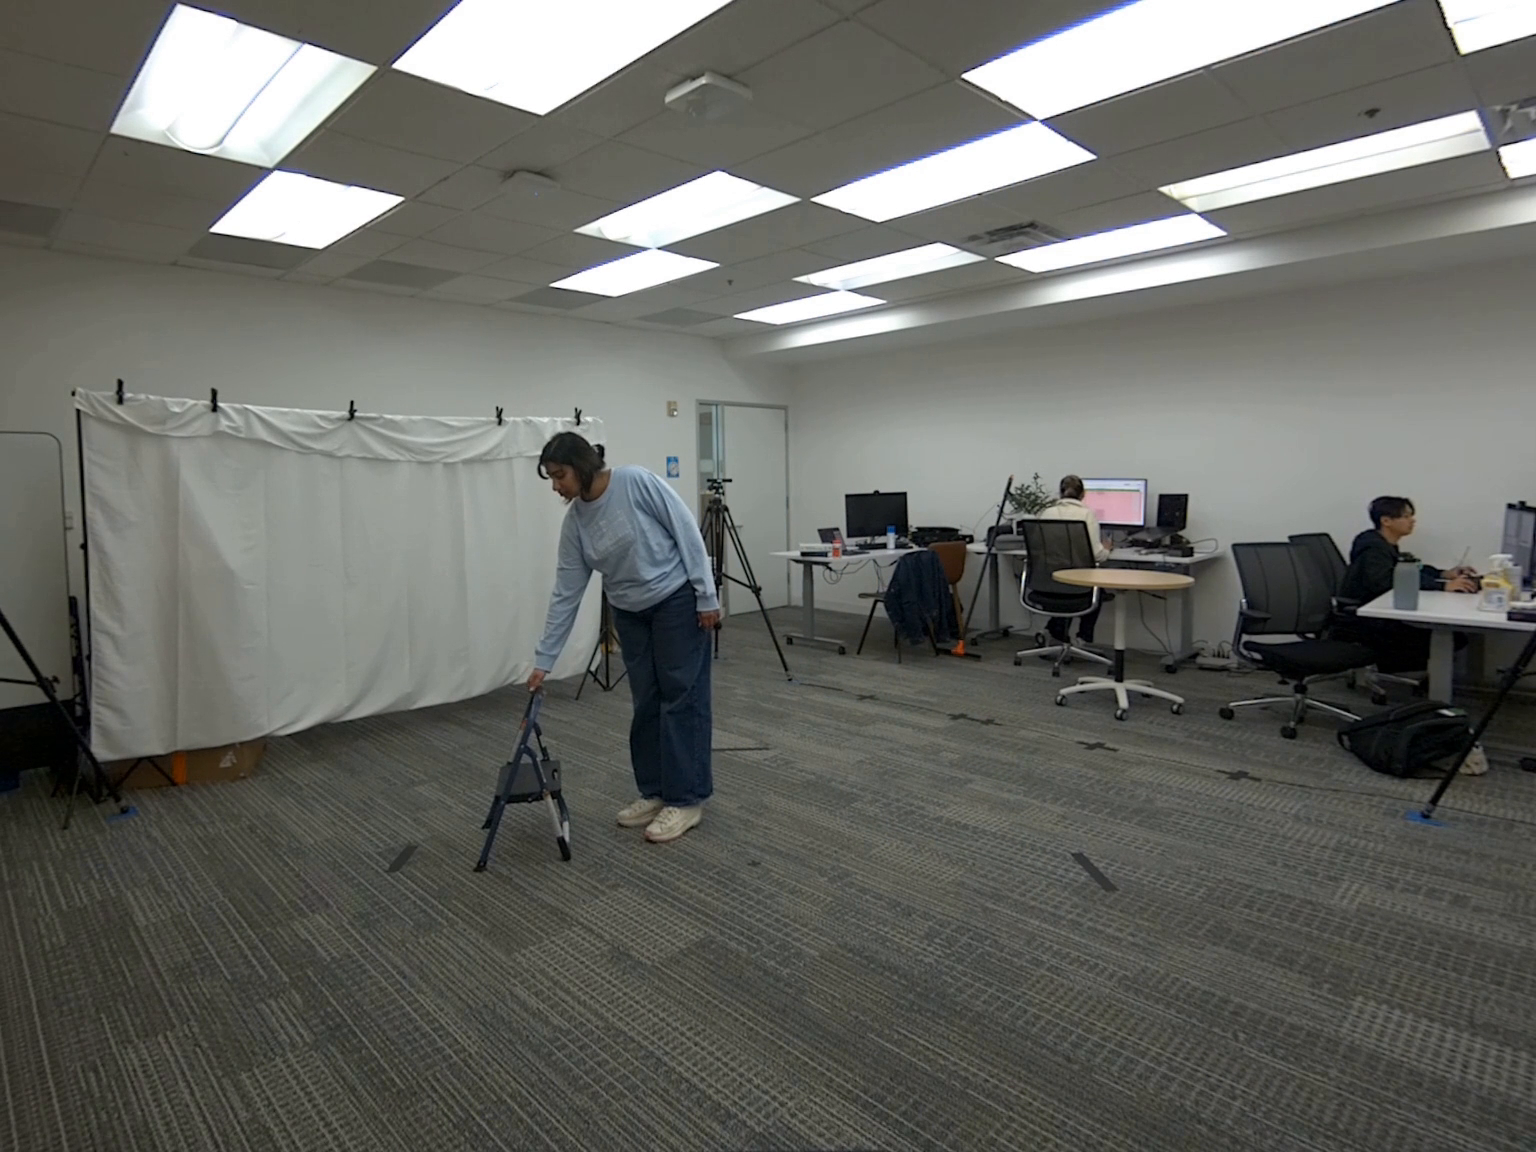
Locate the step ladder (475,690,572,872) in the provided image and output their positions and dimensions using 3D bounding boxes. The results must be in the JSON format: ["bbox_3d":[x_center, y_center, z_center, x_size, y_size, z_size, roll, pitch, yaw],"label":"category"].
[{"bbox_3d":[-0.945,0.734,3.300,0.345,0.603,0.437,-3,5,-13],"label":"step ladder"}]
